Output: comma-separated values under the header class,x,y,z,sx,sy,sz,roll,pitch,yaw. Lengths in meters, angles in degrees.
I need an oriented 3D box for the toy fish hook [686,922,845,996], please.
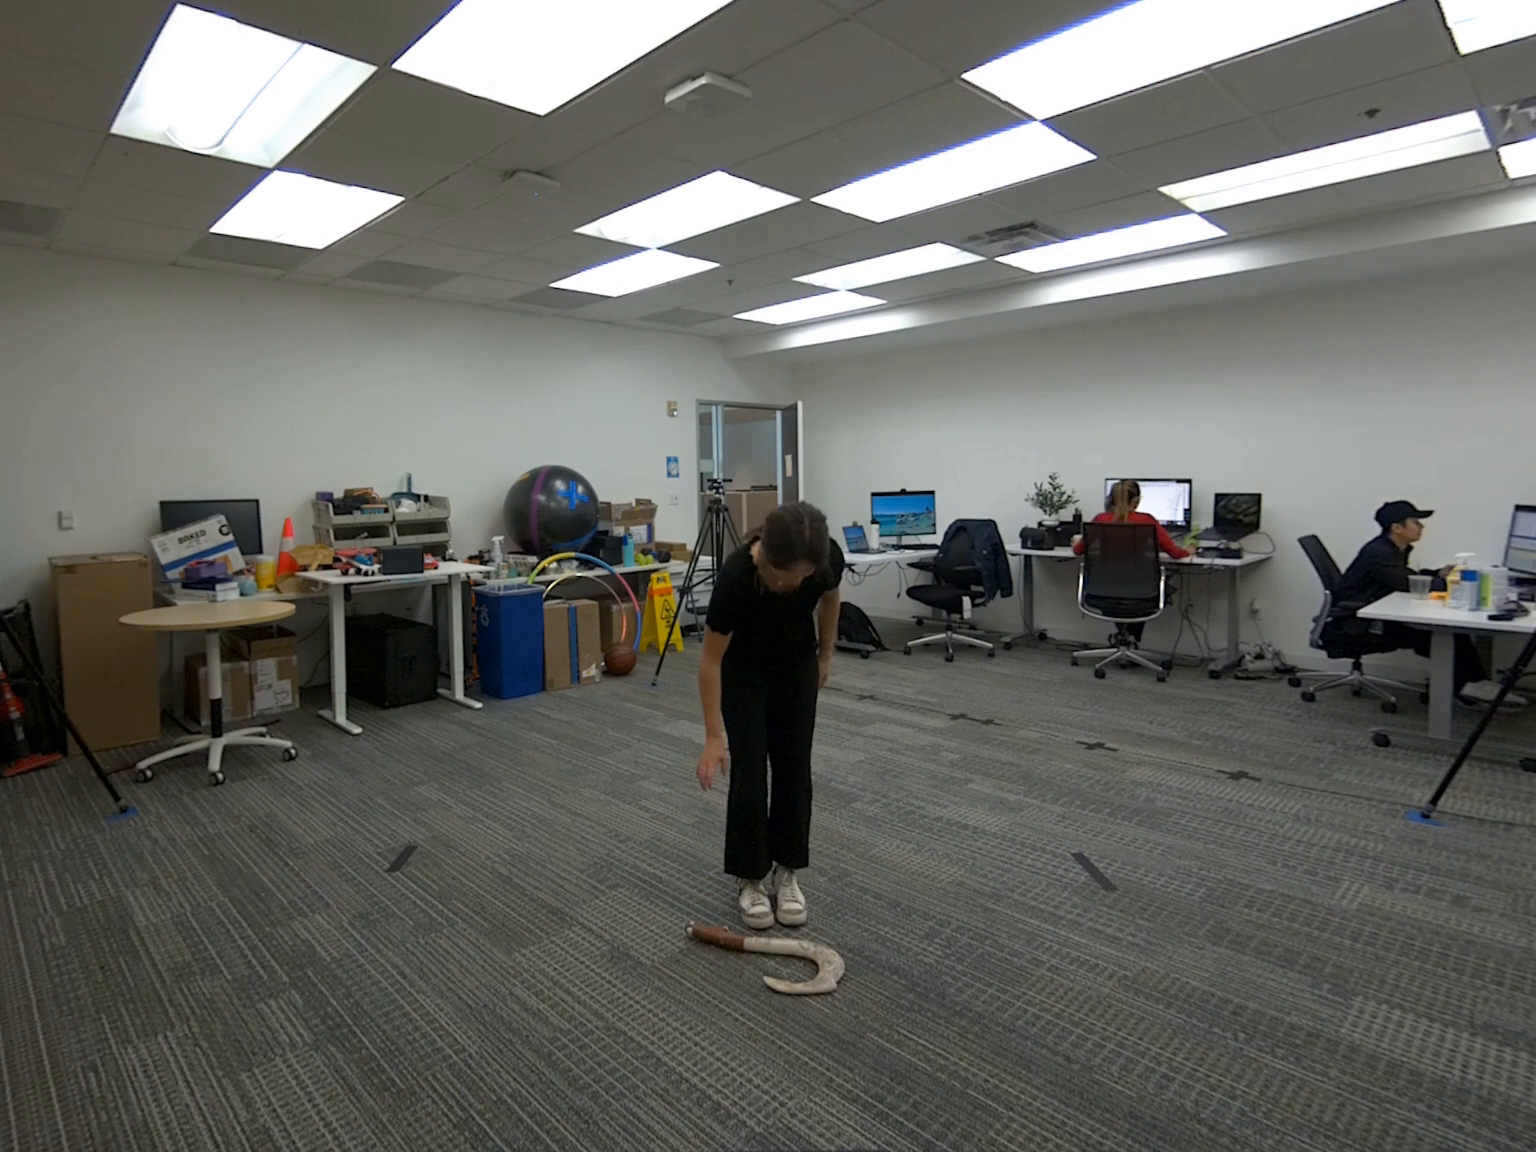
class,x,y,z,sx,sy,sz,roll,pitch,yaw
toy fish hook,-0.032,1.097,2.464,0.518,0.048,0.220,2,6,24
